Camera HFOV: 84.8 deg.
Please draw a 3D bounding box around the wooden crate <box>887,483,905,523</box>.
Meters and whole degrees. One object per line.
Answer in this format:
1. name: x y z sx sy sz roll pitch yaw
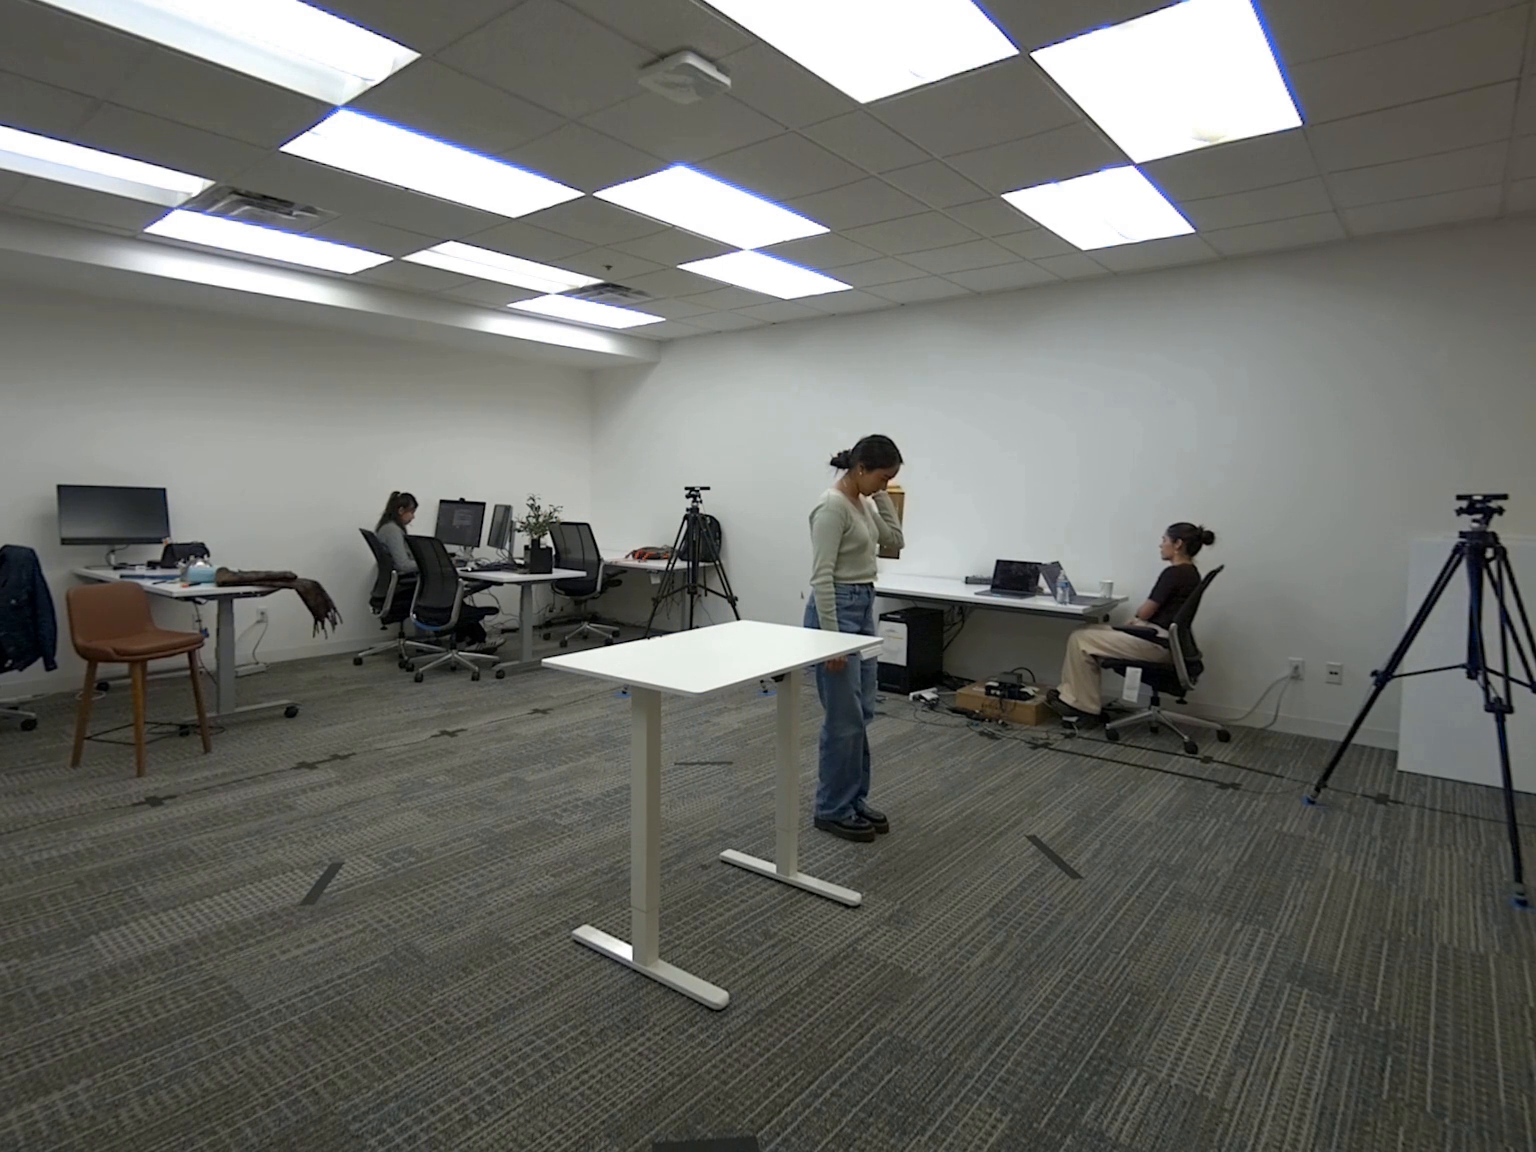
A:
1. wooden crate: 0.447 -0.260 3.832 0.275 0.321 0.304 3 12 4
